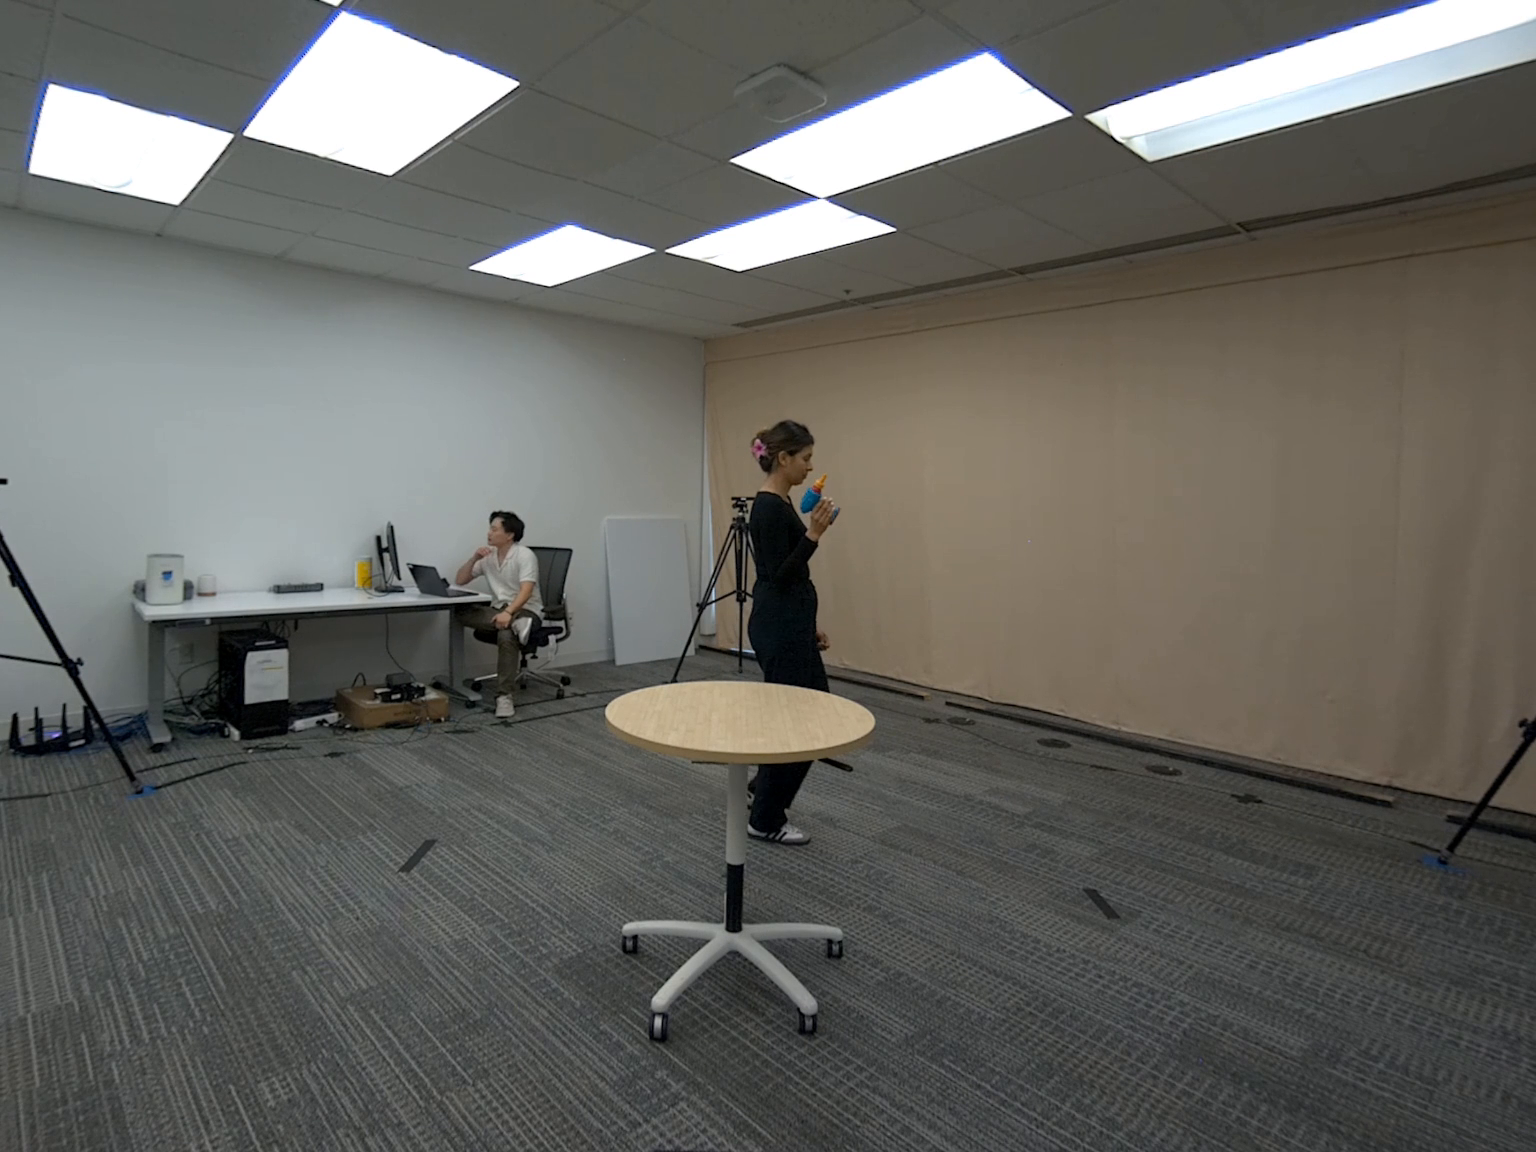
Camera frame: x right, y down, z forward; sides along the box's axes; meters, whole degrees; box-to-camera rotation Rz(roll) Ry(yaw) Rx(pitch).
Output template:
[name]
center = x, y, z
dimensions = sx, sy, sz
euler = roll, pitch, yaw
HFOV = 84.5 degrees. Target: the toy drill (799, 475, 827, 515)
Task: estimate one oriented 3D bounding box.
[toy drill]
center = 0.197, -0.283, 3.074
dimensions = 0.146, 0.169, 0.061
euler = 28, 19, 2
